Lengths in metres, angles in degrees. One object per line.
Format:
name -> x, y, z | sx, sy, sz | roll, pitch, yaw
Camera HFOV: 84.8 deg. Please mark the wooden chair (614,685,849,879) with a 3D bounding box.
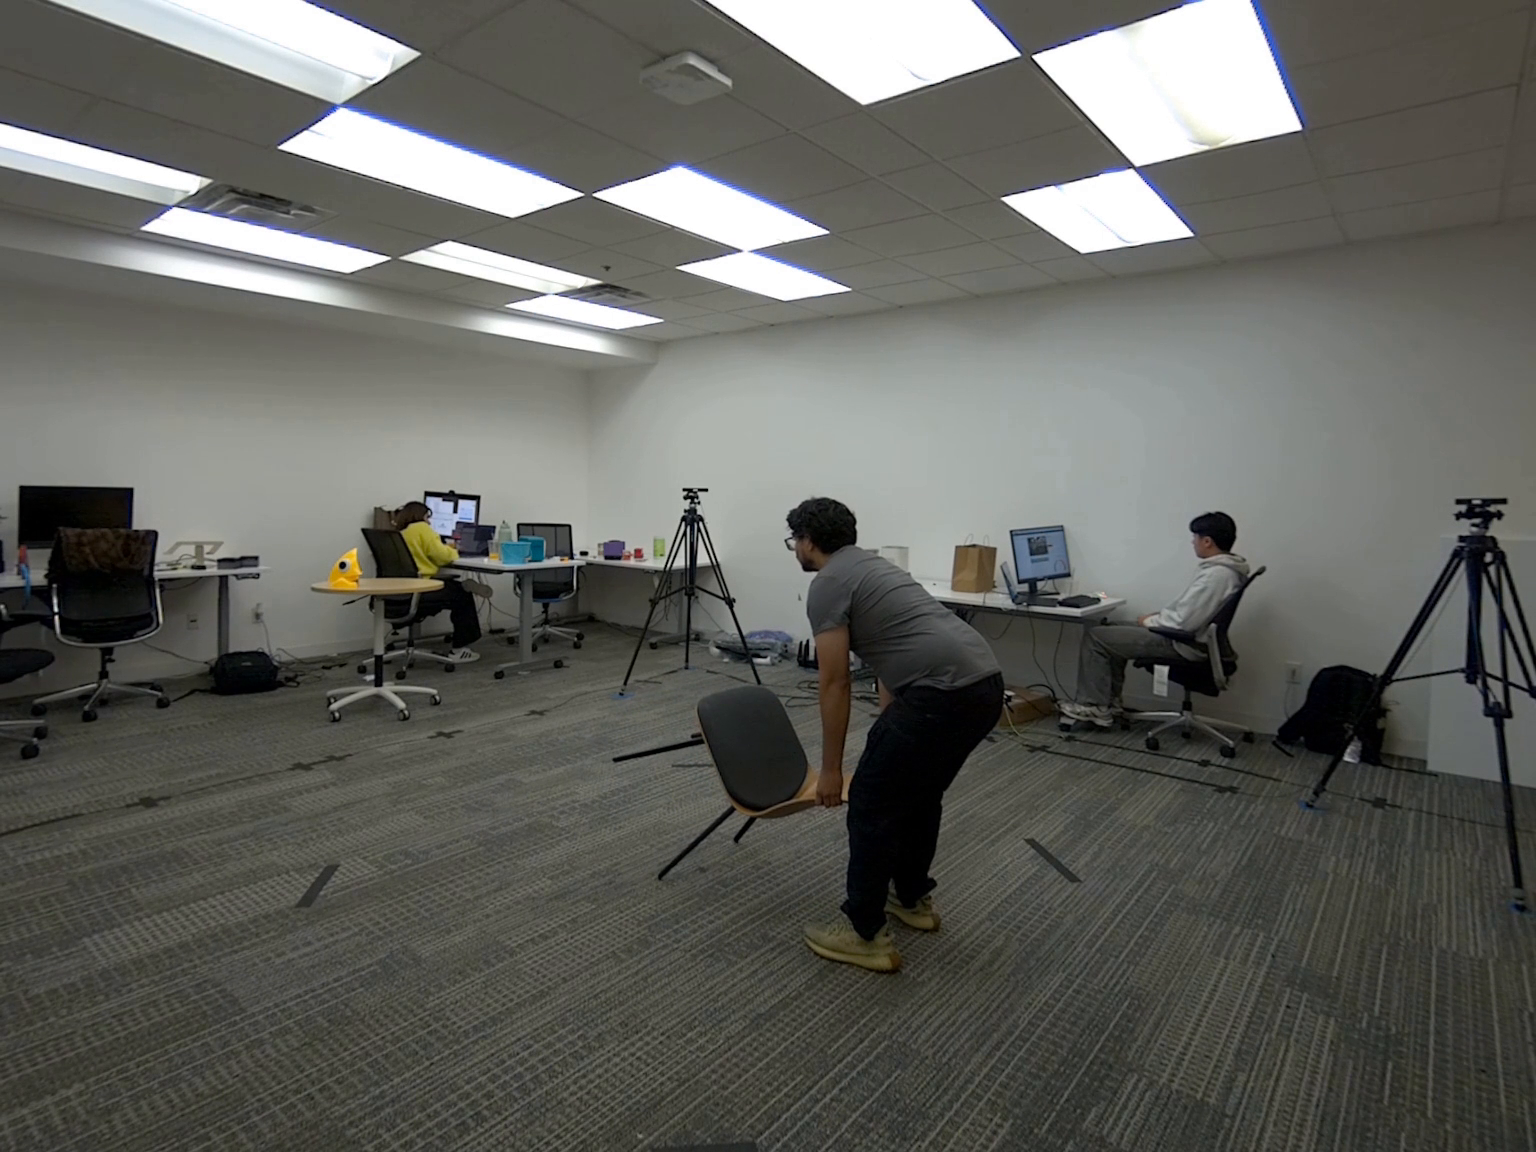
wooden chair -> -0.070, 0.654, 3.024 | 0.887, 0.533, 0.464 | -30, -16, 34
